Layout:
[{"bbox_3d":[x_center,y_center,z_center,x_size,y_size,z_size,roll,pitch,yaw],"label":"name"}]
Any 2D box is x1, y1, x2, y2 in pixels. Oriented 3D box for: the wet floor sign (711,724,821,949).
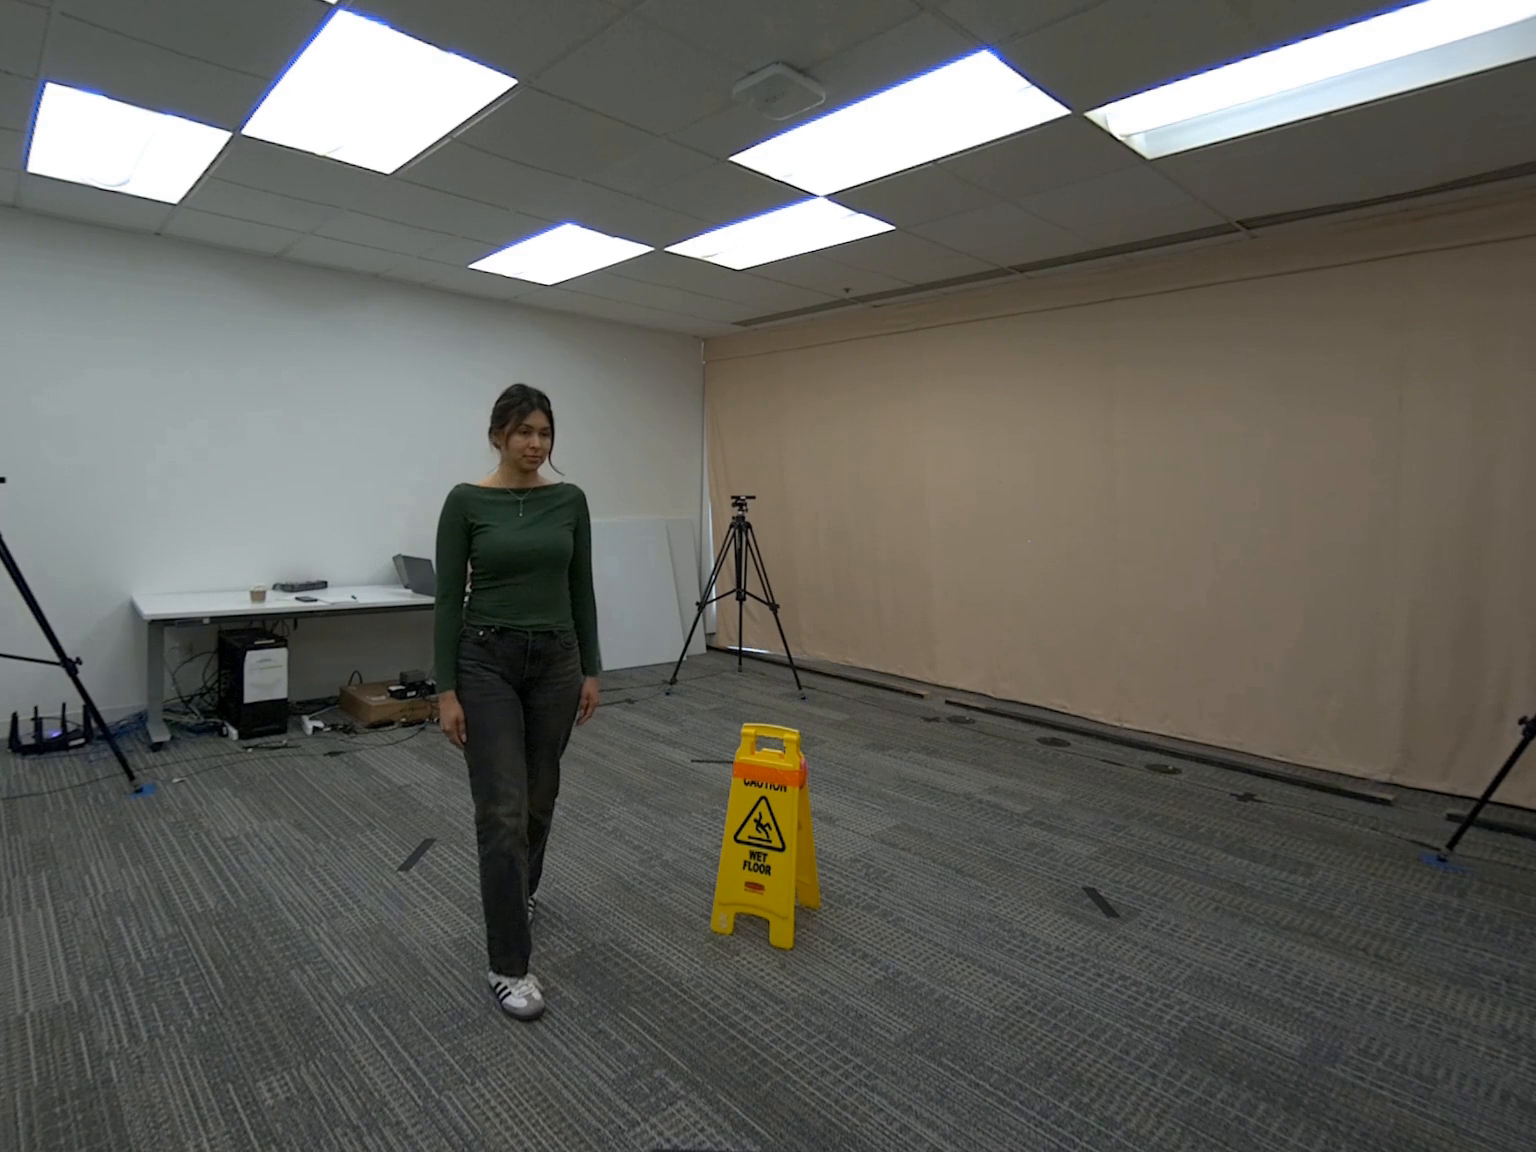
[{"bbox_3d":[-0.001,0.813,2.763,0.287,0.644,0.285,3,3,22],"label":"wet floor sign"}]
